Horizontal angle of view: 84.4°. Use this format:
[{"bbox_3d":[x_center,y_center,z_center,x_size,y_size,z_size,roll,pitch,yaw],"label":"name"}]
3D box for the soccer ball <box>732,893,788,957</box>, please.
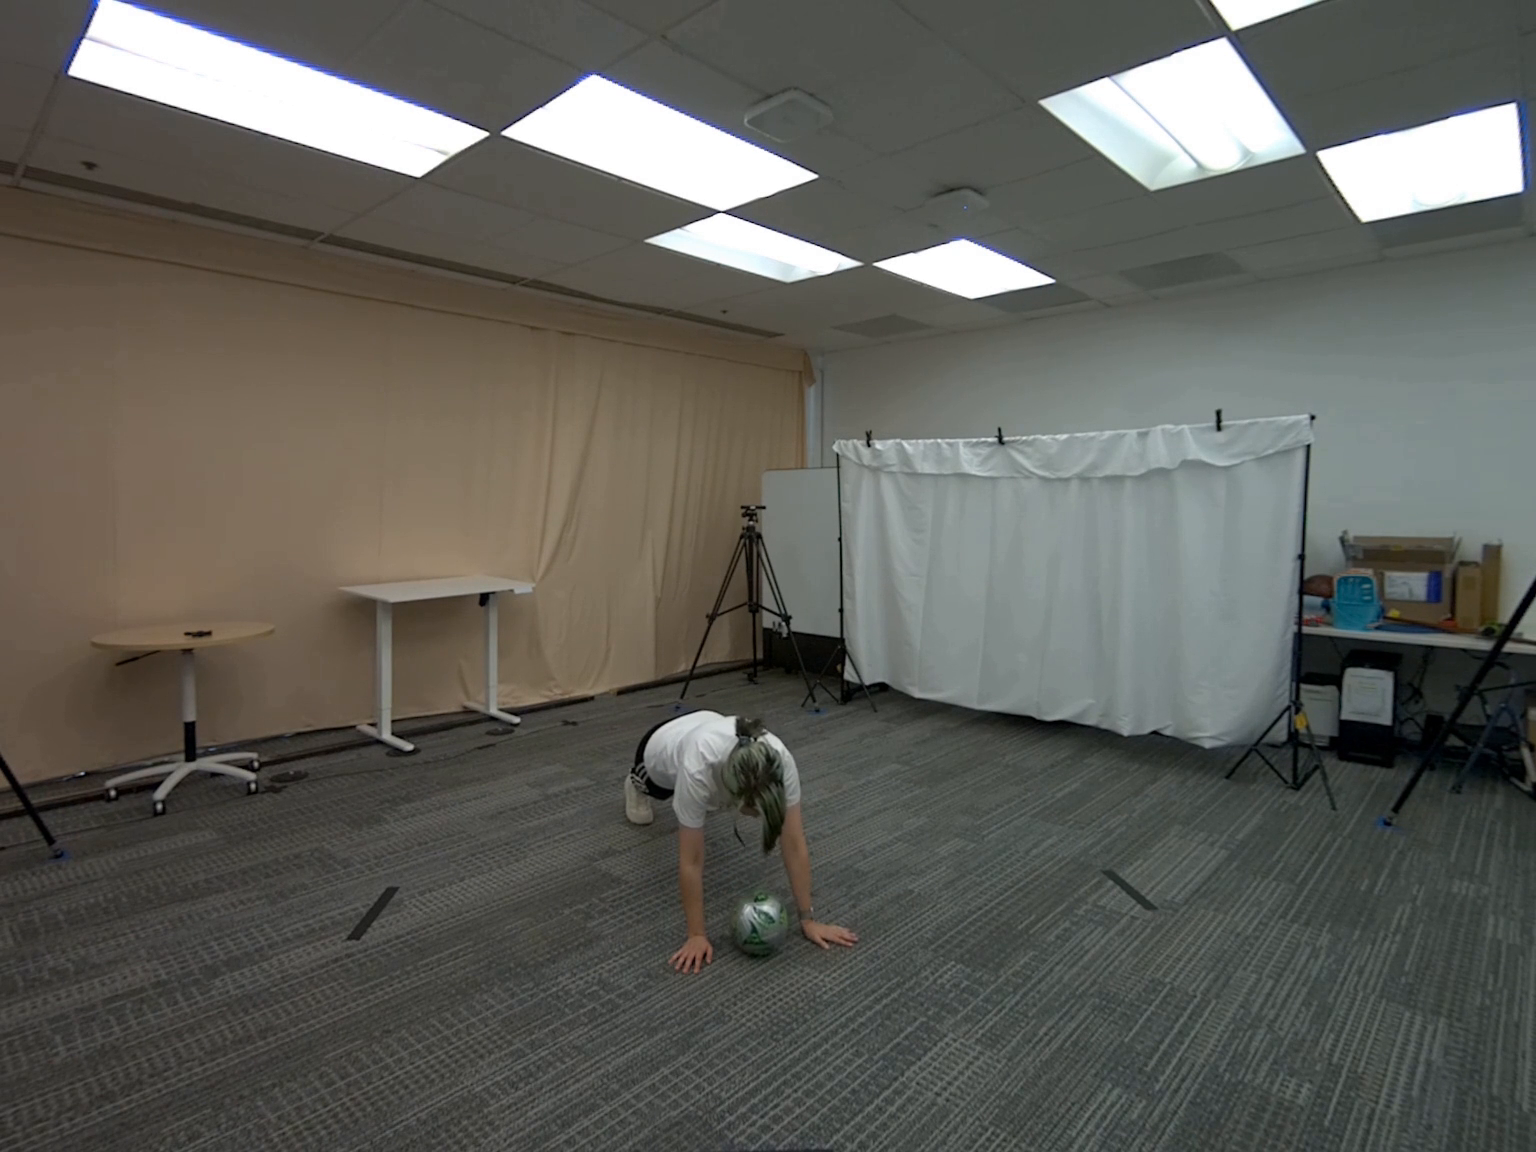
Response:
[{"bbox_3d":[-0.028,1.080,2.629,0.187,0.187,0.188,0,4,-2],"label":"soccer ball"}]
